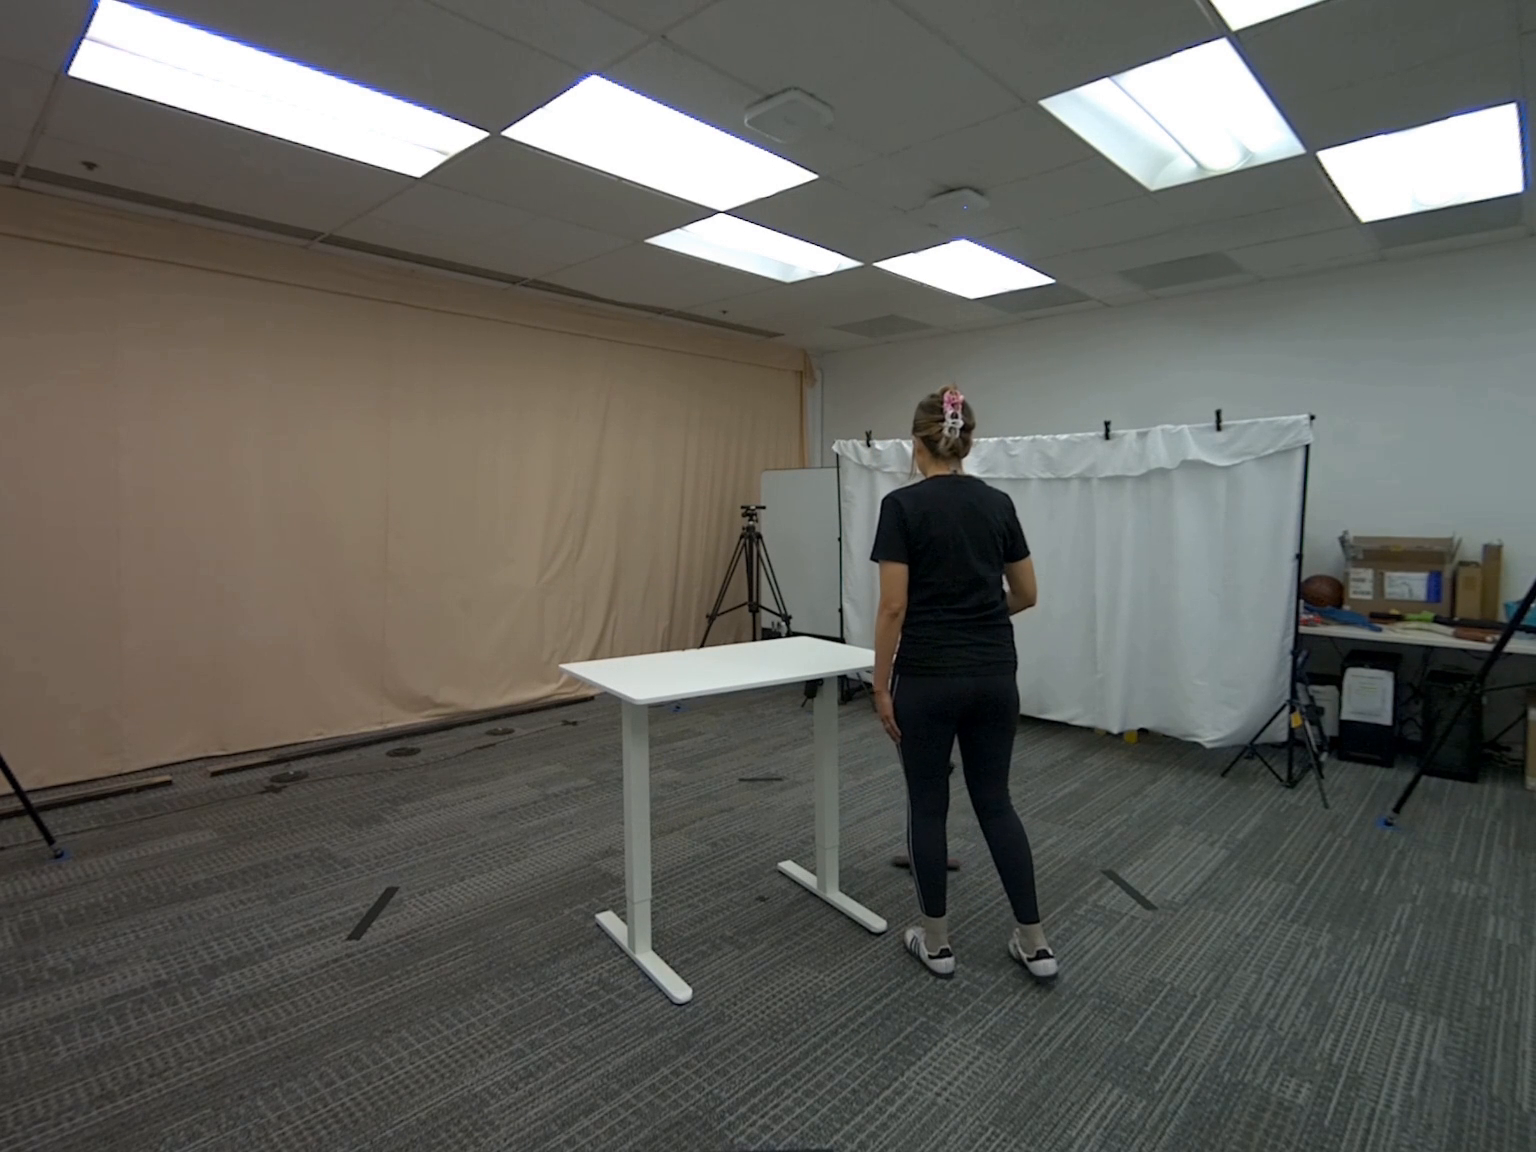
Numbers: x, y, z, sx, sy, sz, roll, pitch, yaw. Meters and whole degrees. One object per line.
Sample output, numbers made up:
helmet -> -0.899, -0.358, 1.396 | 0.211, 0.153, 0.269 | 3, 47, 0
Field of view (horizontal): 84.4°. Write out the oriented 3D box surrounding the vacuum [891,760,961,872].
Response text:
vacuum -> 0.593, 0.657, 2.997 | 0.255, 1.033, 0.144 | 1, 25, 10
